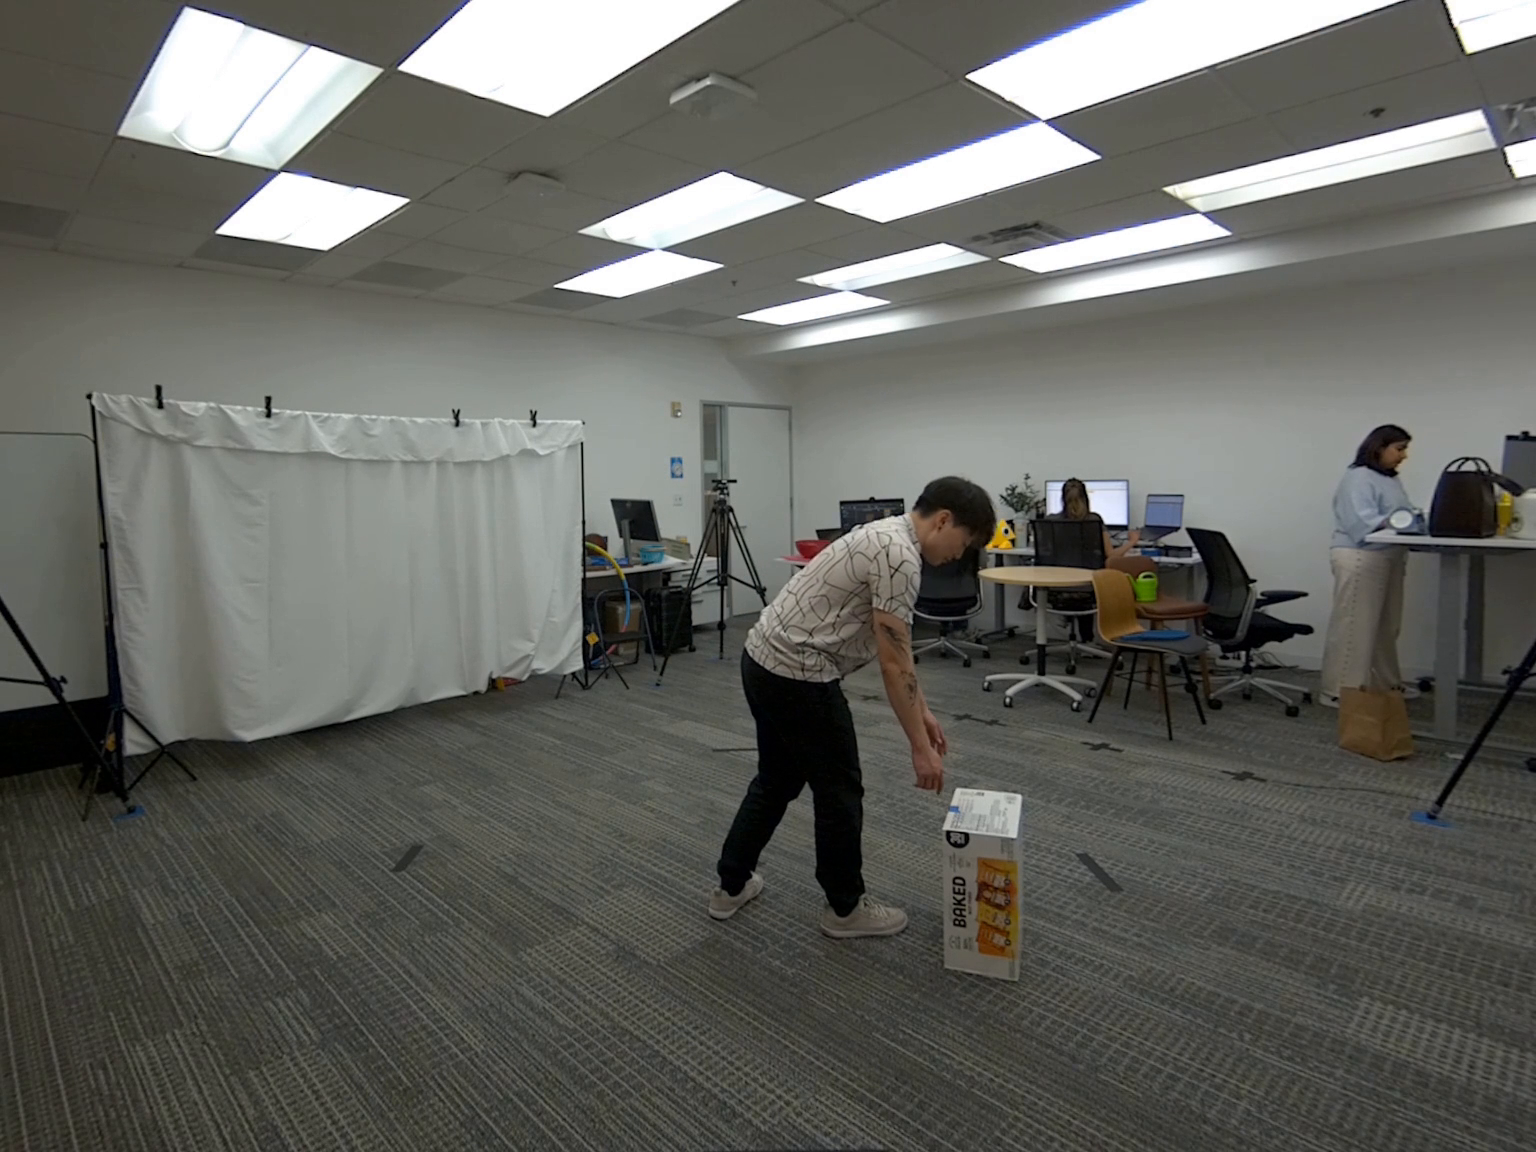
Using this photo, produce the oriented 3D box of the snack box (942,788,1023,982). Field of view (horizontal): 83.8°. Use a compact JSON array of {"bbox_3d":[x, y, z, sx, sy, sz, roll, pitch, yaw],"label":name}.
[{"bbox_3d":[0.646,0.894,2.532,0.210,0.404,0.335,0,4,20],"label":"snack box"}]
